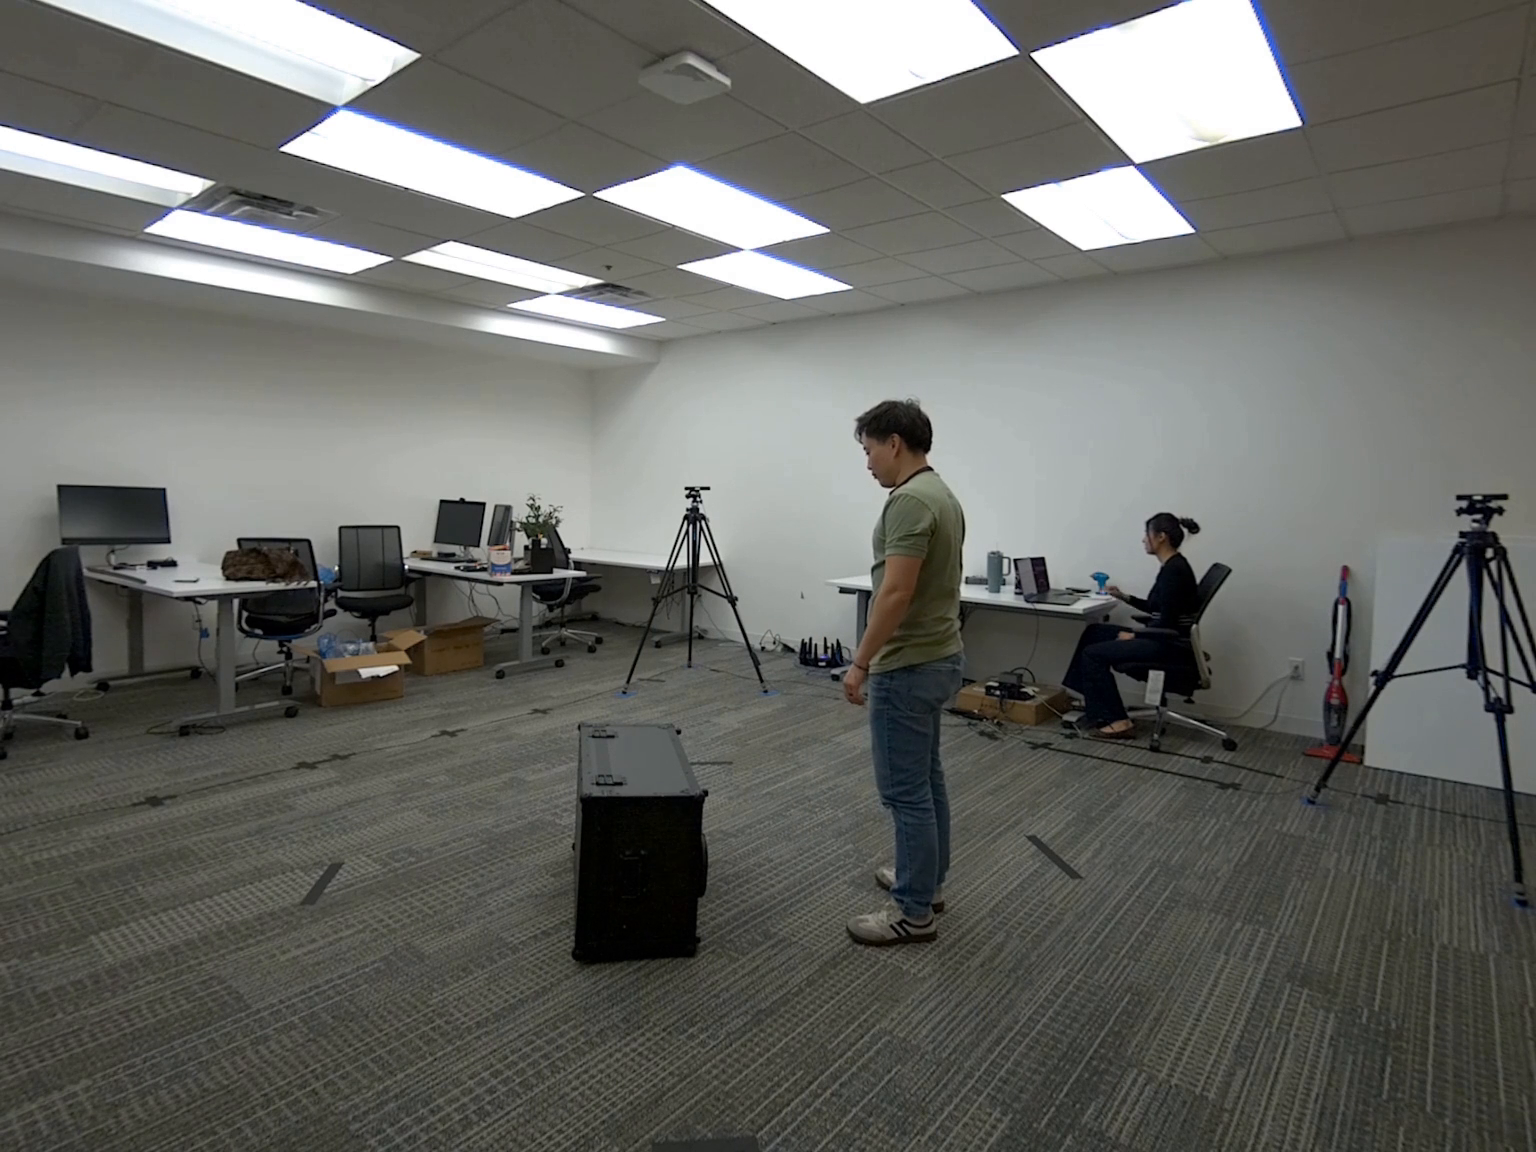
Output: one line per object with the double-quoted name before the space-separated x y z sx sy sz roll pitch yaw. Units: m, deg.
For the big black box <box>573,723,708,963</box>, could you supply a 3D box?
"big black box" -0.465 0.827 2.889 0.391 0.519 0.876 2 5 -13
